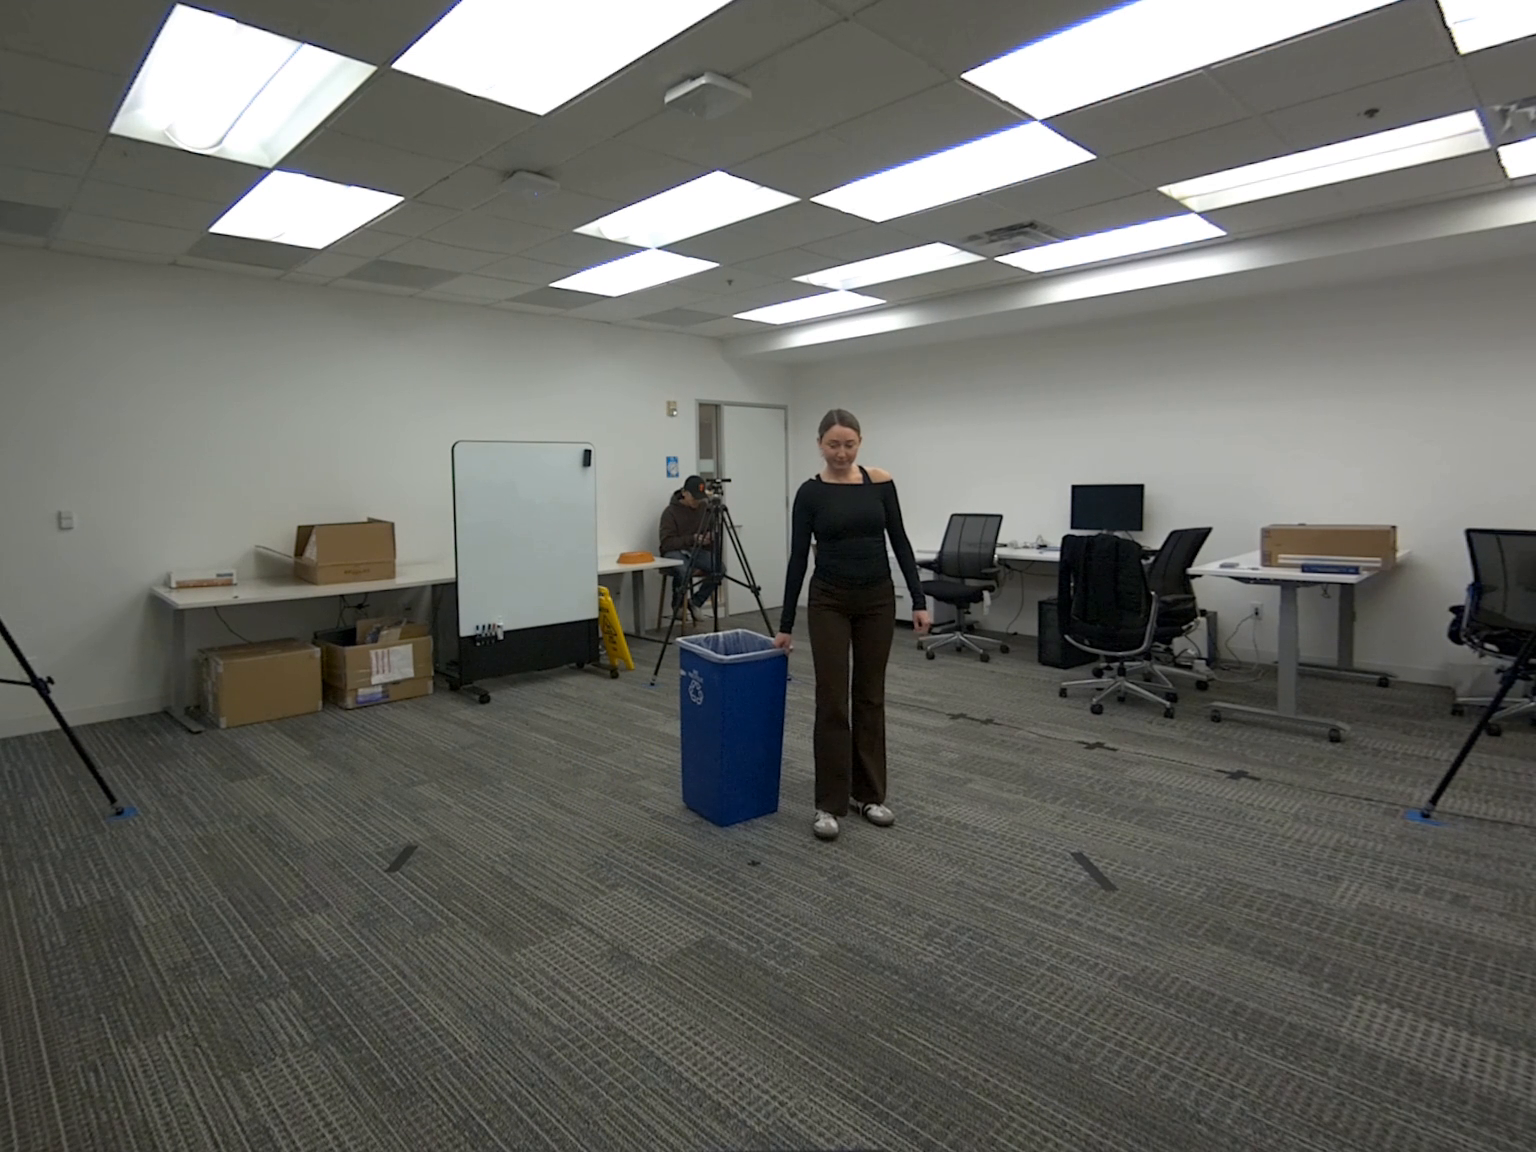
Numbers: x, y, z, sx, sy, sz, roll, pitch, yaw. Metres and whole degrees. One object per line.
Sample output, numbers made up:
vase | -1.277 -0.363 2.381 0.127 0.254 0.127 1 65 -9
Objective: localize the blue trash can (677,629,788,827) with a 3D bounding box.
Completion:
blue trash can | -0.146 0.625 3.582 0.368 0.709 0.386 -4 8 -36
